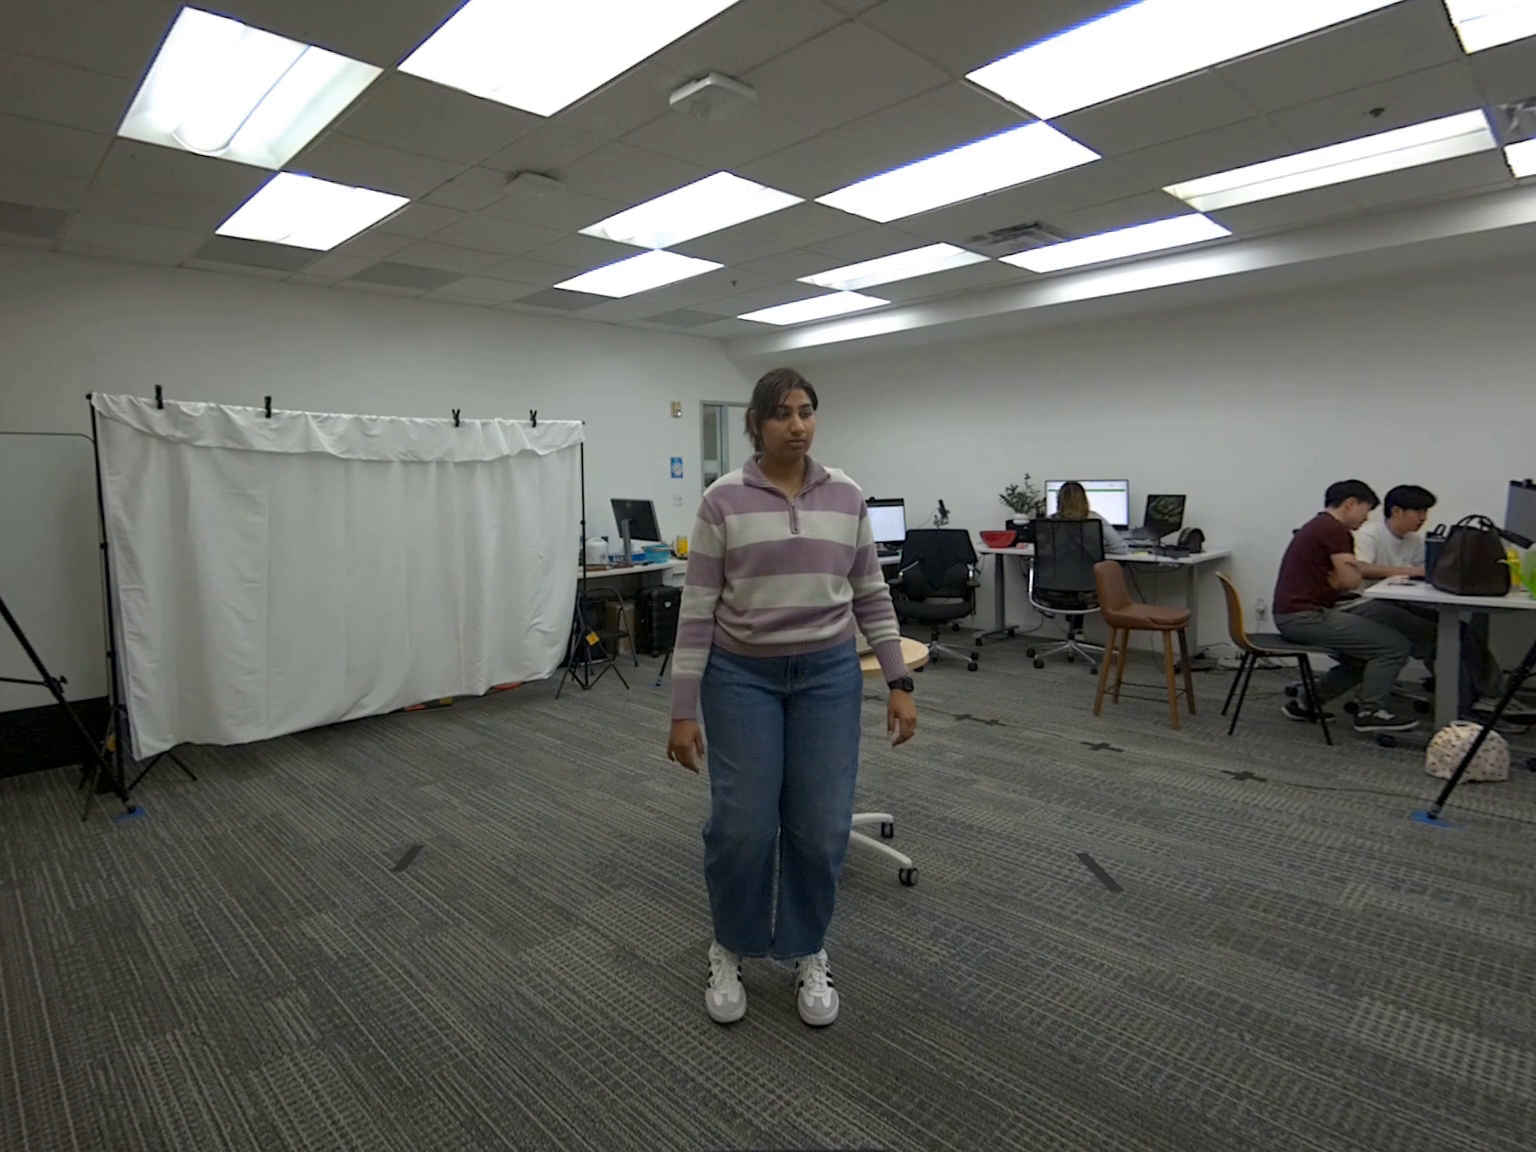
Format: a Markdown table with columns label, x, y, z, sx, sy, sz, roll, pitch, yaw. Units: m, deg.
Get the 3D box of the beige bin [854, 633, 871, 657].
| label | x | y | z | sx | sy | sz | roll | pitch | yaw |
| --- | --- | --- | --- | --- | --- | --- | --- | --- | --- |
| beige bin | 0.185 | 0.187 | 2.971 | 0.388 | 0.188 | 0.411 | 2 | 7 | 45 |
